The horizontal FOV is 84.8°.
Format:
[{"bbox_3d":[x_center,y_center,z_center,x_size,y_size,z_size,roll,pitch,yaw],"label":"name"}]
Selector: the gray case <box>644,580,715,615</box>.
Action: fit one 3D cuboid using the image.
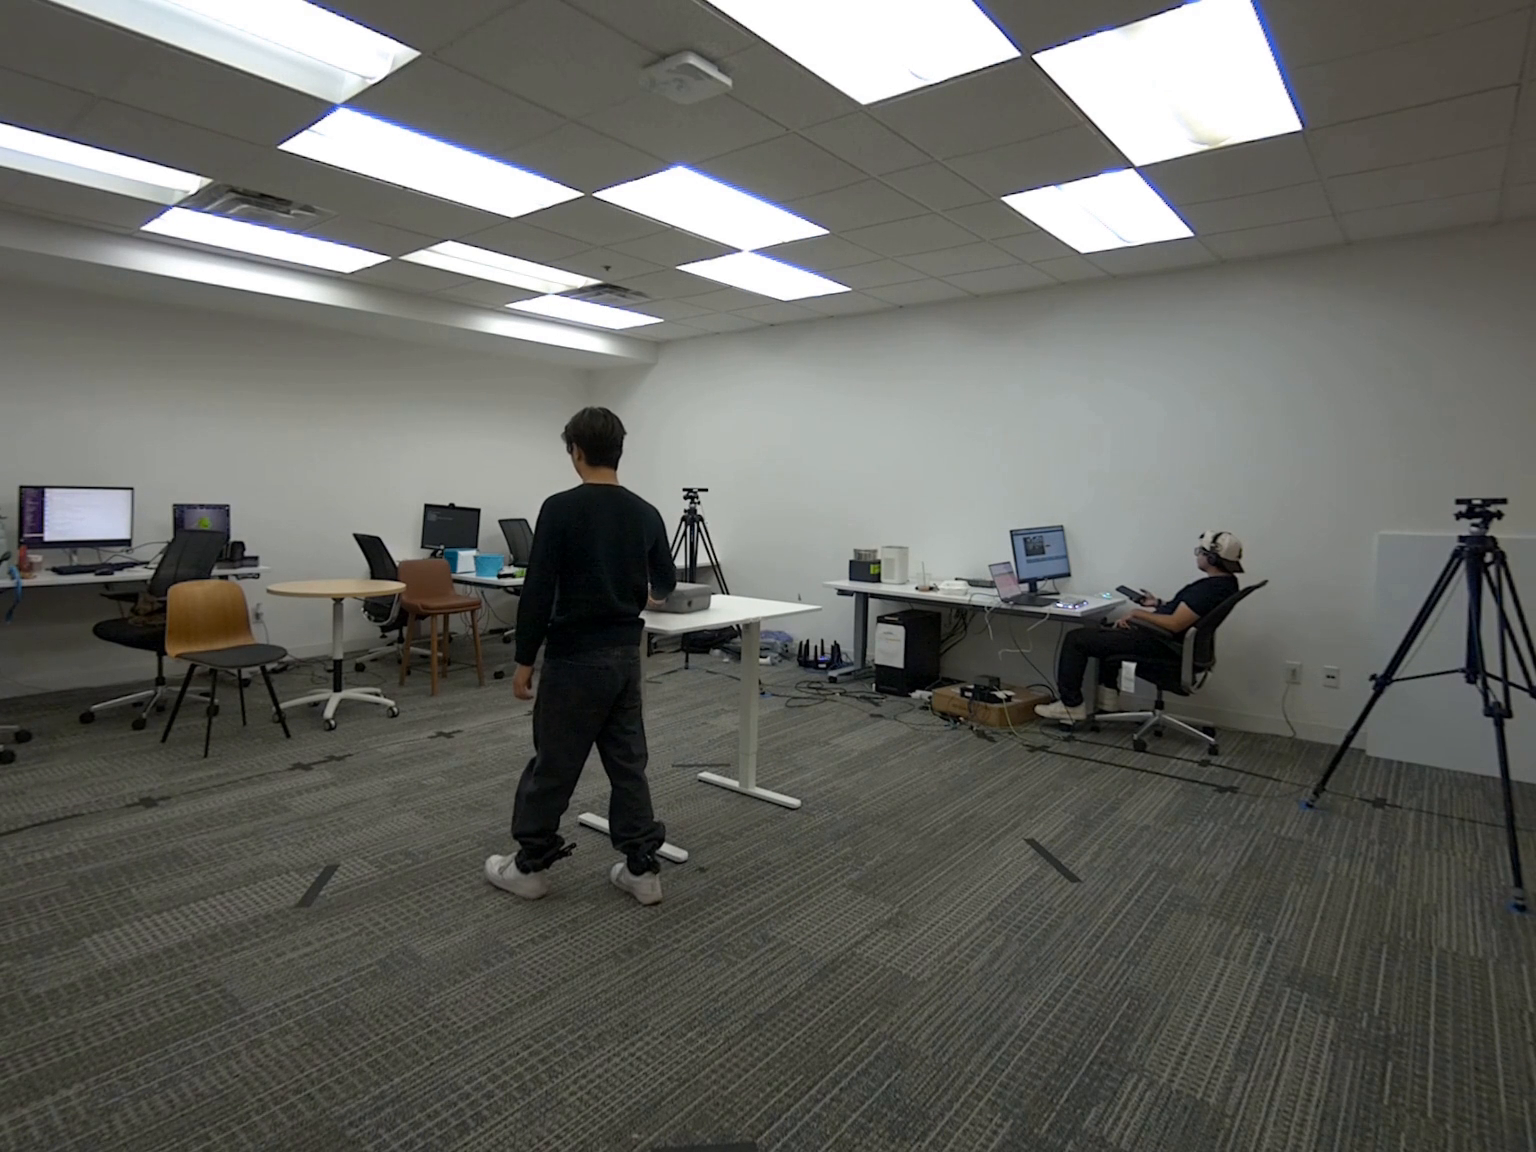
[{"bbox_3d":[-0.405,0.083,3.573,0.264,0.104,0.254,4,5,26],"label":"gray case"}]
